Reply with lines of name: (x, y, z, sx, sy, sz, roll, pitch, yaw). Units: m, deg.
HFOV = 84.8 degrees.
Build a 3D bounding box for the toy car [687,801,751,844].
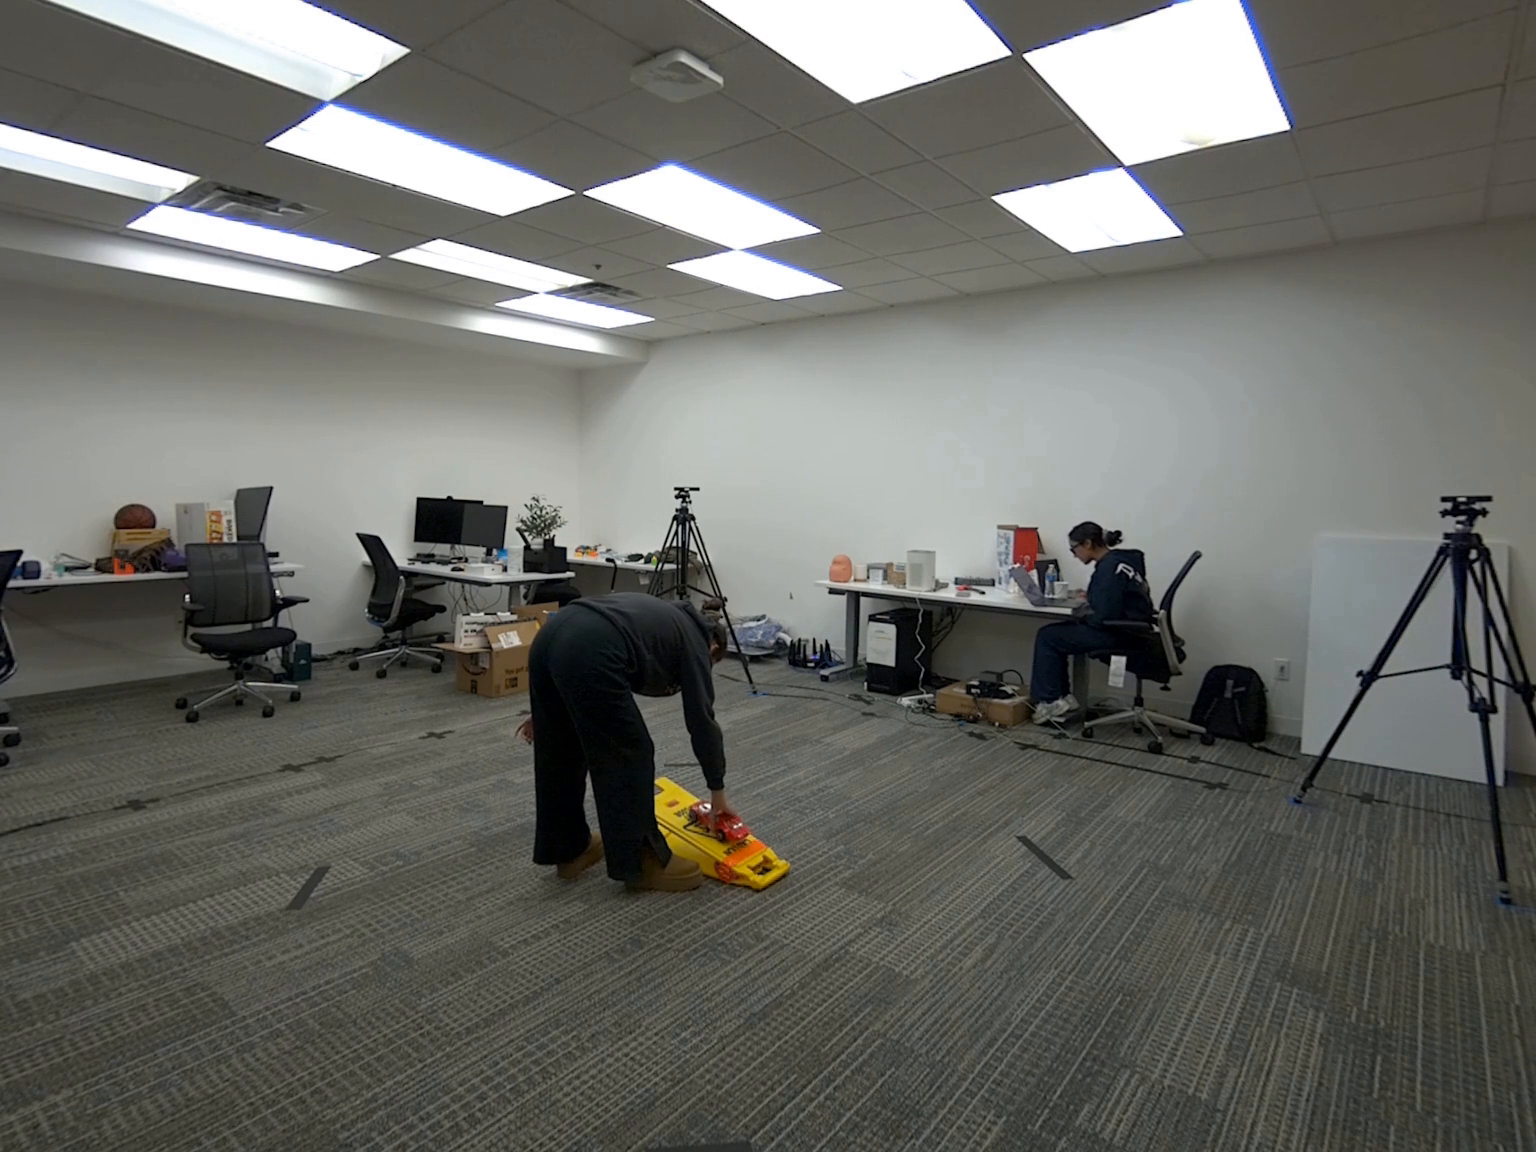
toy car: (-0.178, 0.921, 3.161, 0.264, 0.082, 0.126, 13, 12, 40)
